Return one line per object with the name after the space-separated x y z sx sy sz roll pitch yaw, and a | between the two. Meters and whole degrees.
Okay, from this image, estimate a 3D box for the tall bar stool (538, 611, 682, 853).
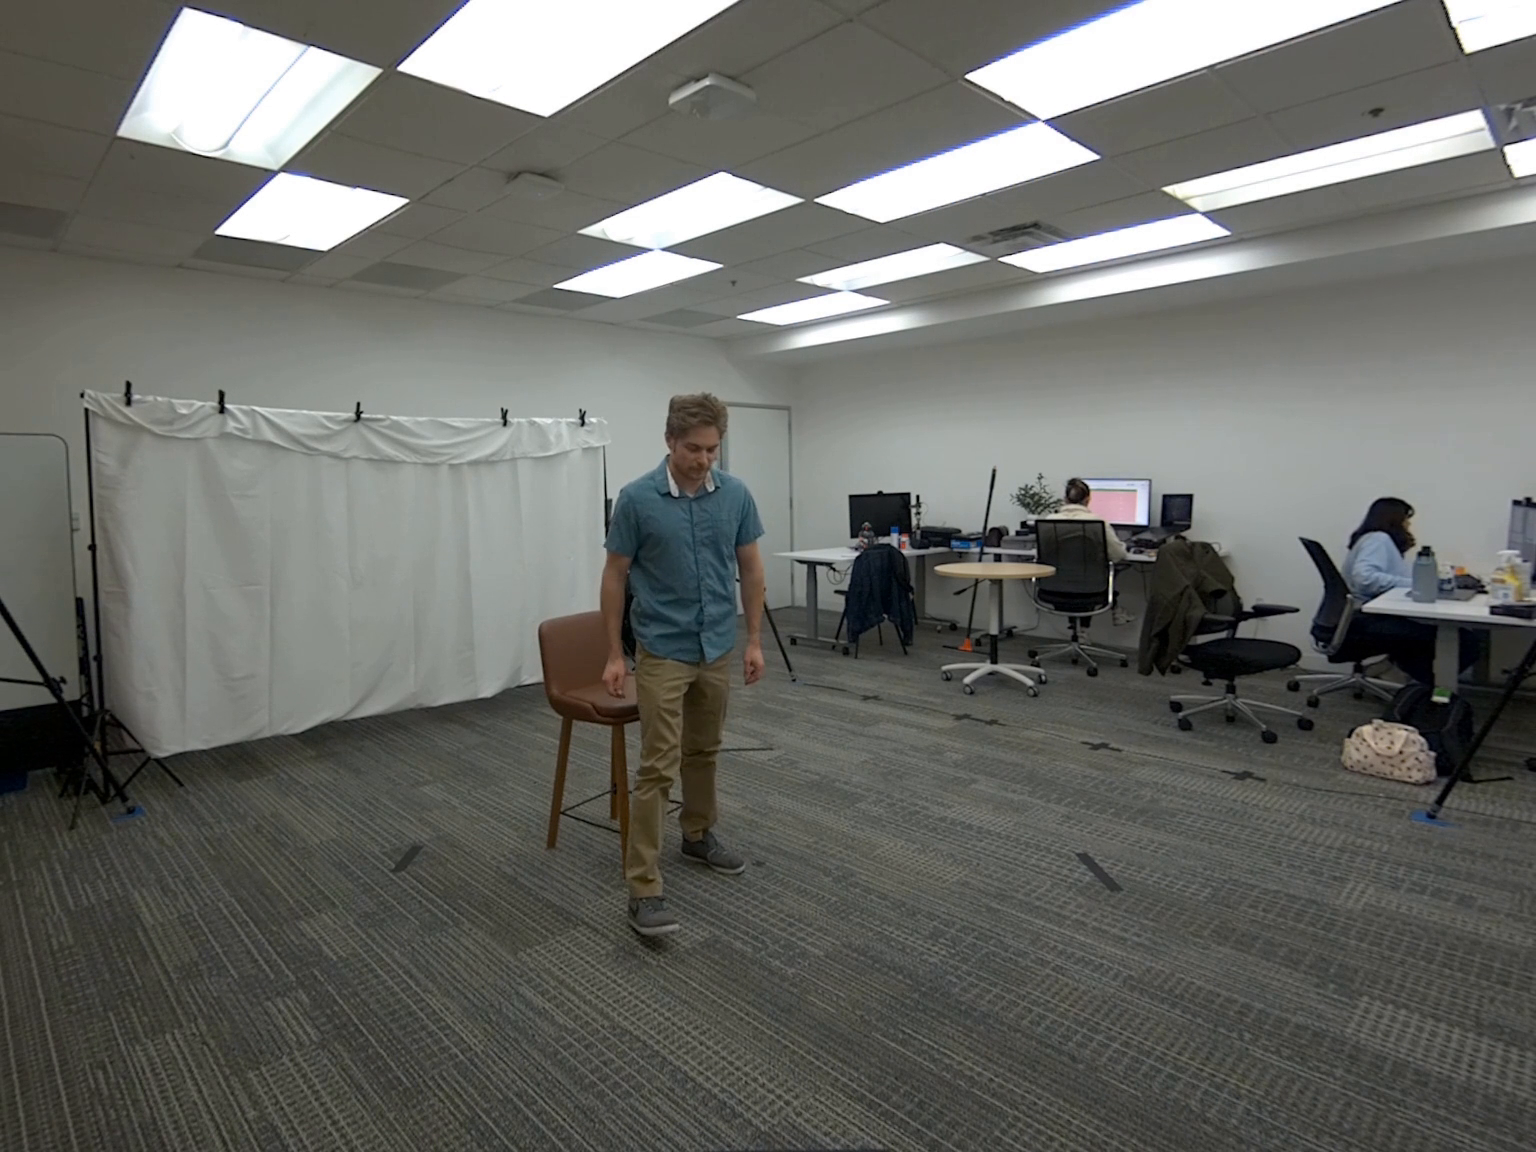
-0.575 0.601 3.278 0.480 0.888 0.445 -1 3 36 | tall bar stool
